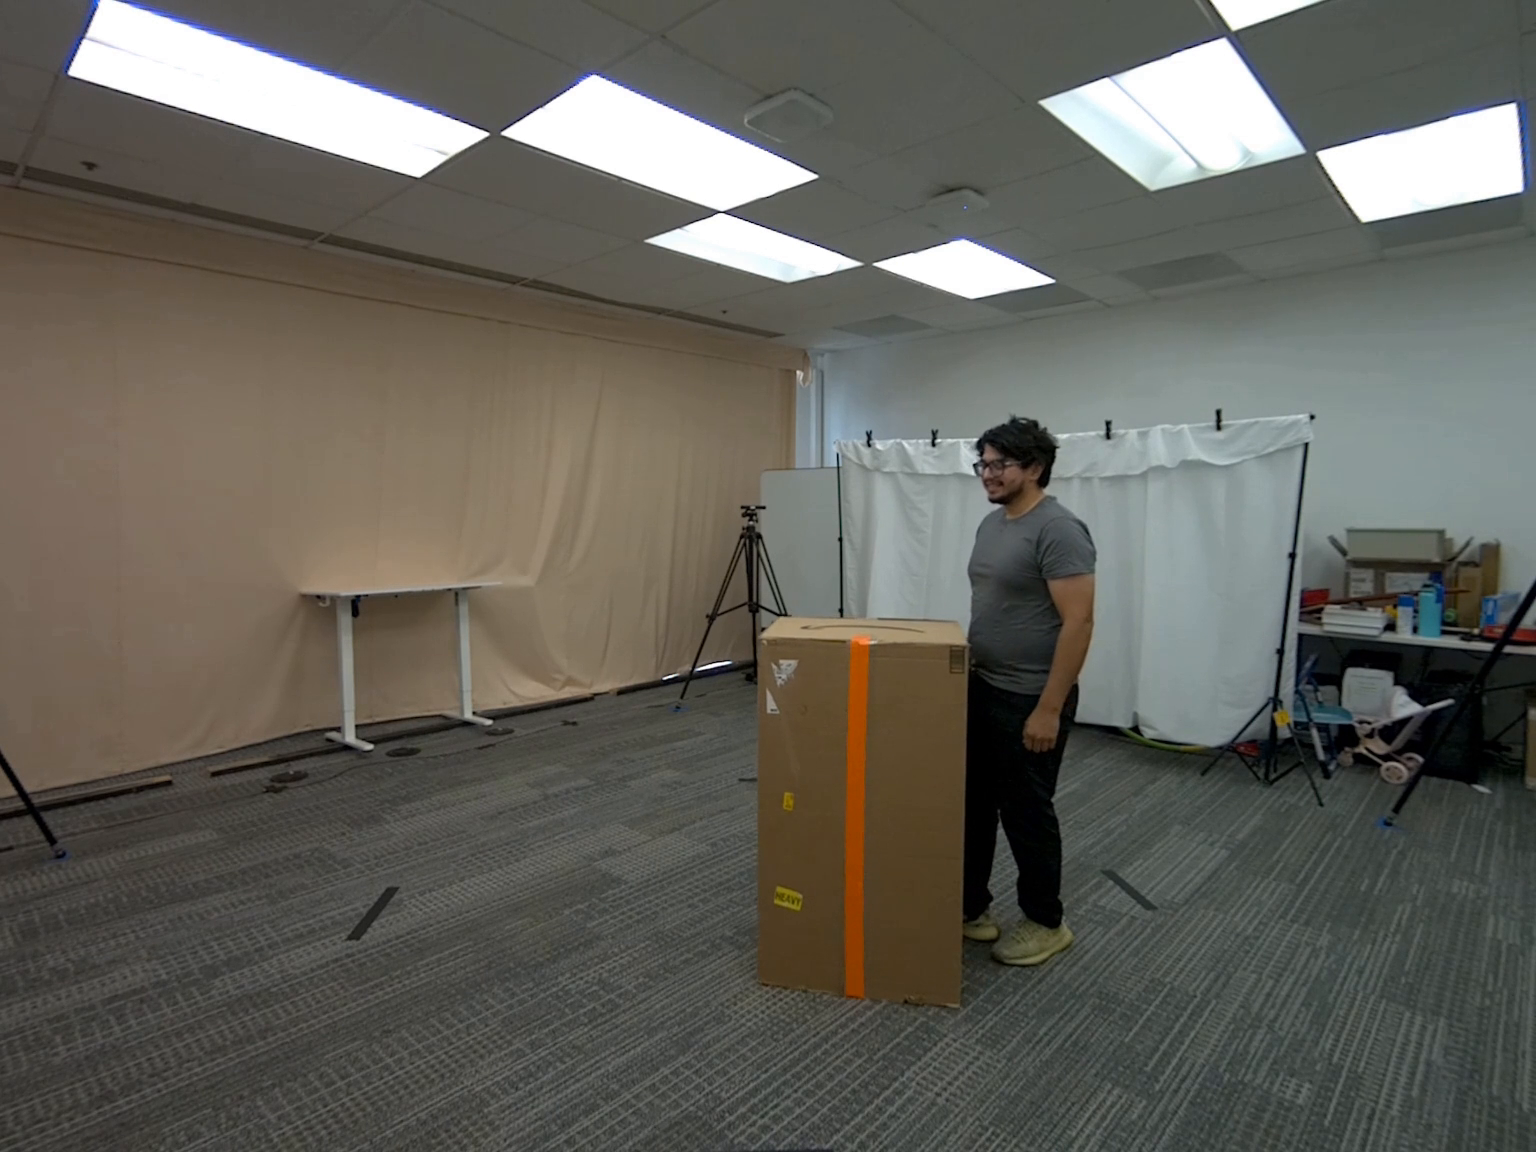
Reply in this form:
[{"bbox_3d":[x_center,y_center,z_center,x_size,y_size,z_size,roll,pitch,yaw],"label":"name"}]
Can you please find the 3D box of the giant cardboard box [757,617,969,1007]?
[{"bbox_3d":[0.292,0.672,2.565,0.591,1.025,0.443,1,3,10],"label":"giant cardboard box"}]
